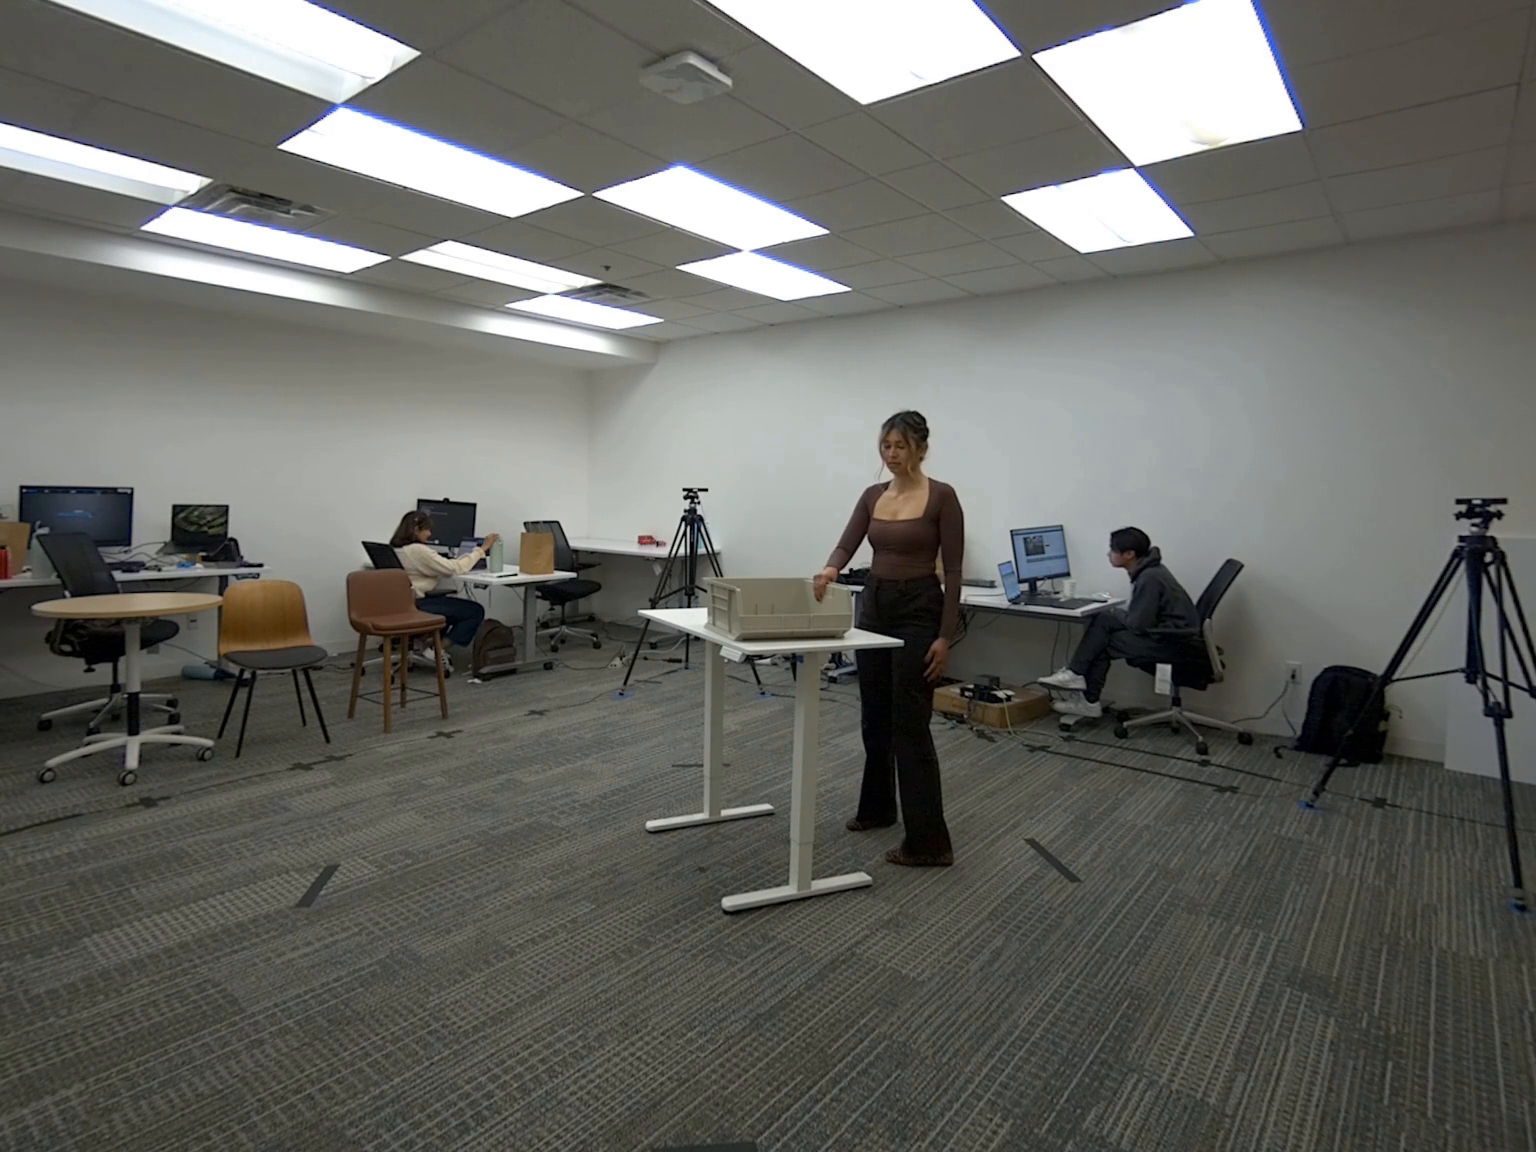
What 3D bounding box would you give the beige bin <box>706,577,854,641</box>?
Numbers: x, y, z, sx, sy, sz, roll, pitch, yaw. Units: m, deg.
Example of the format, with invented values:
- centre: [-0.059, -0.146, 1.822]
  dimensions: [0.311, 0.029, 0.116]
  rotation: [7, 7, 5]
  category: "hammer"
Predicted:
- centre: [0.023, 0.112, 2.991]
  dimensions: [0.413, 0.188, 0.386]
  rotation: [-1, 4, -22]
  category: "beige bin"
